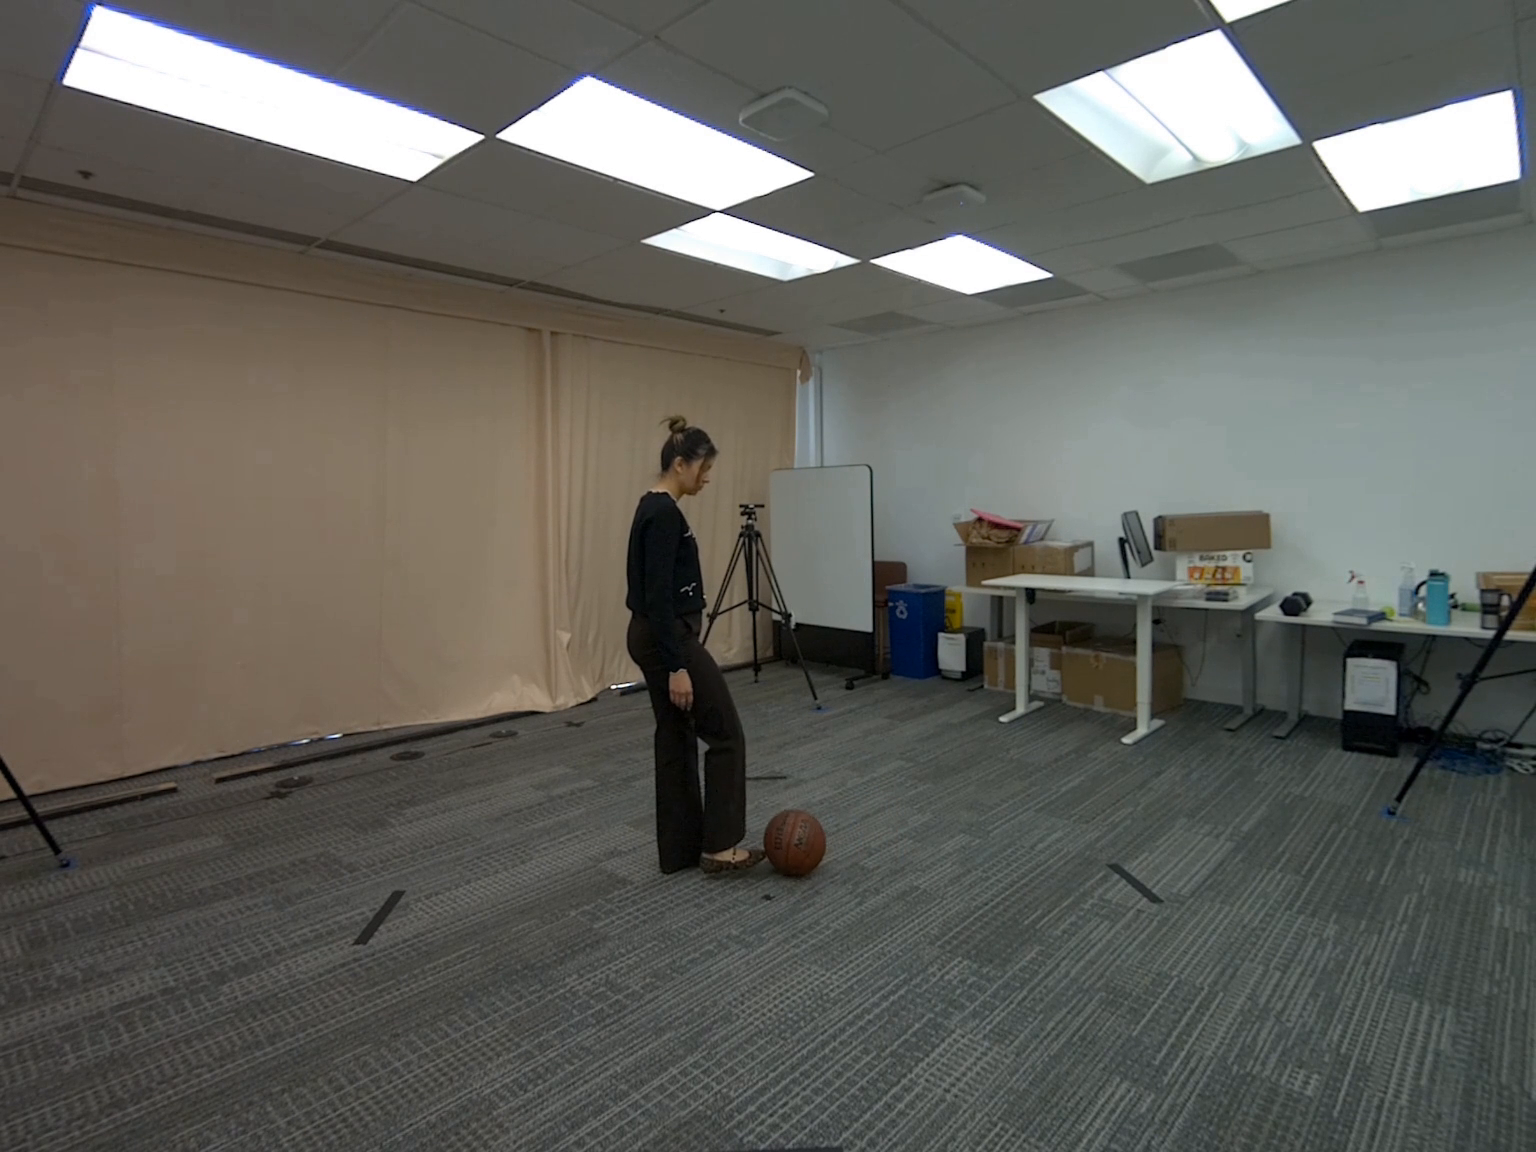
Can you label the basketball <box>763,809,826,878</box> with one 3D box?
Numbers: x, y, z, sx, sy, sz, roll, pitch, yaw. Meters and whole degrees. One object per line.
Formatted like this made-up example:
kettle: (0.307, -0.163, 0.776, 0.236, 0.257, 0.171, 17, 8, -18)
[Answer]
basketball: (0.114, 1.001, 3.172, 0.236, 0.235, 0.237, -1, 4, -2)
